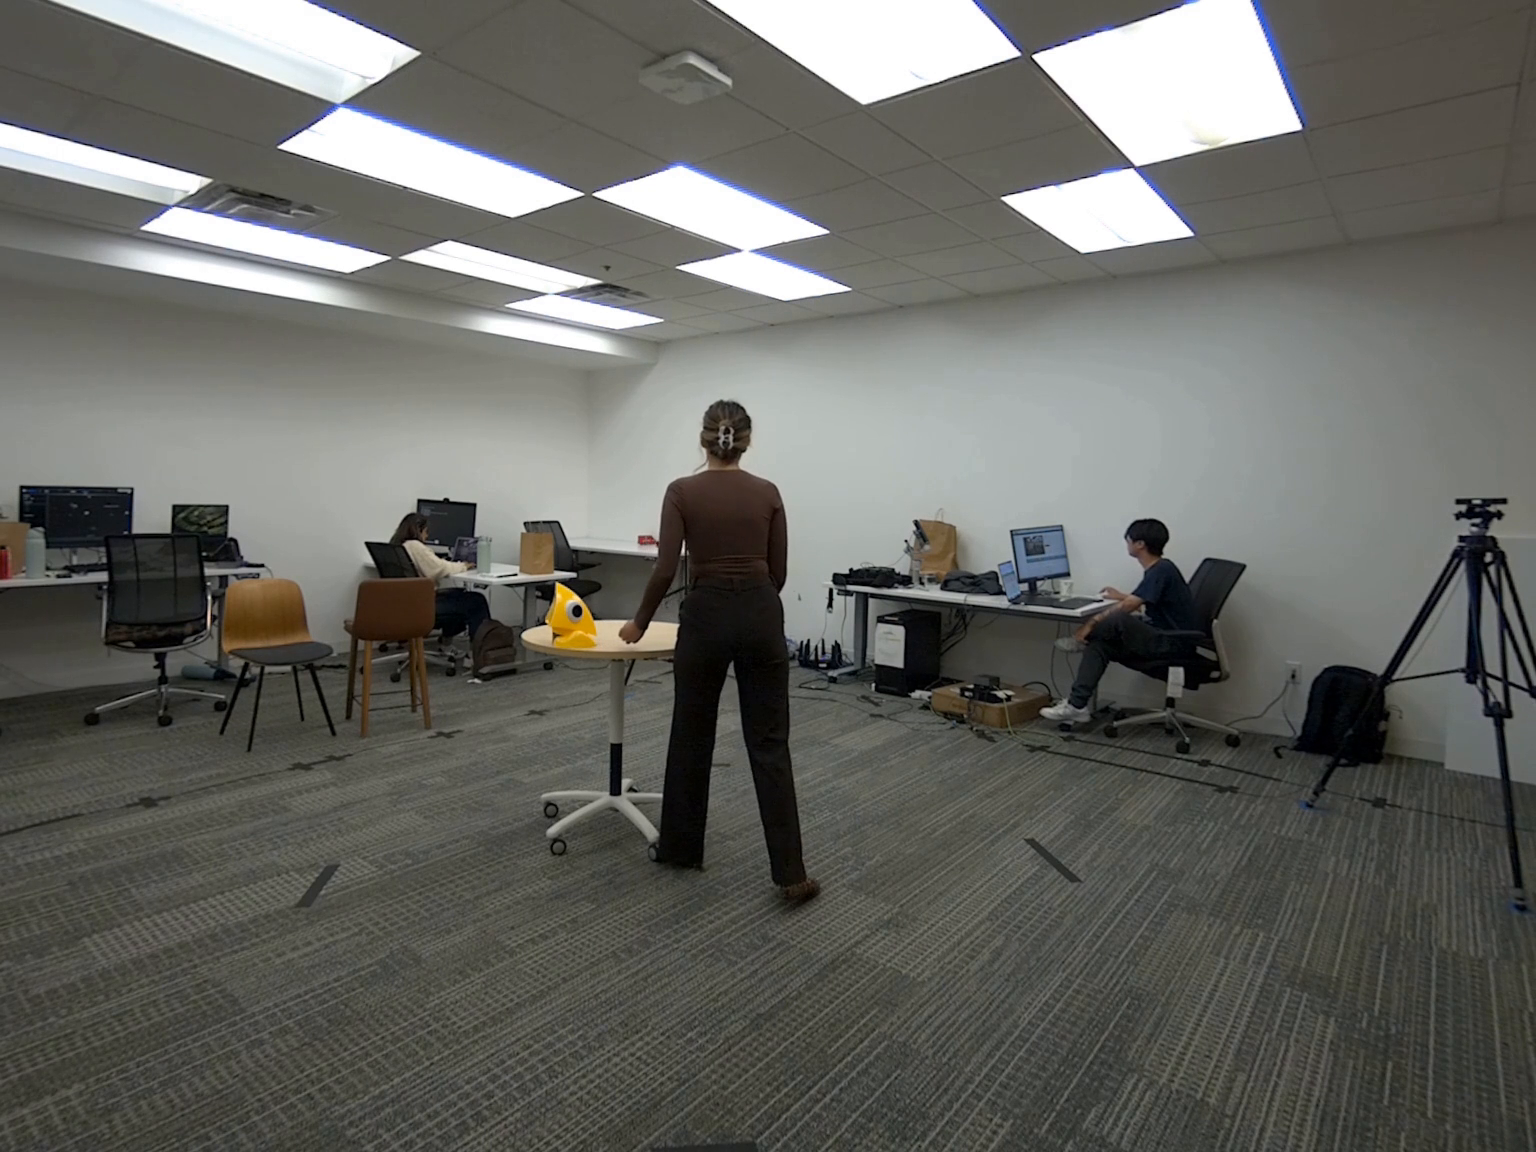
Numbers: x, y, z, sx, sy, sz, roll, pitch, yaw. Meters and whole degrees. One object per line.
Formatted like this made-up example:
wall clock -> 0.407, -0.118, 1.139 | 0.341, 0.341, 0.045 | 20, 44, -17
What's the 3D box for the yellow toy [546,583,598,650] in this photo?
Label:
yellow toy -> -0.754, 0.137, 3.216 | 0.189, 0.230, 0.209 | 0, 4, -18
